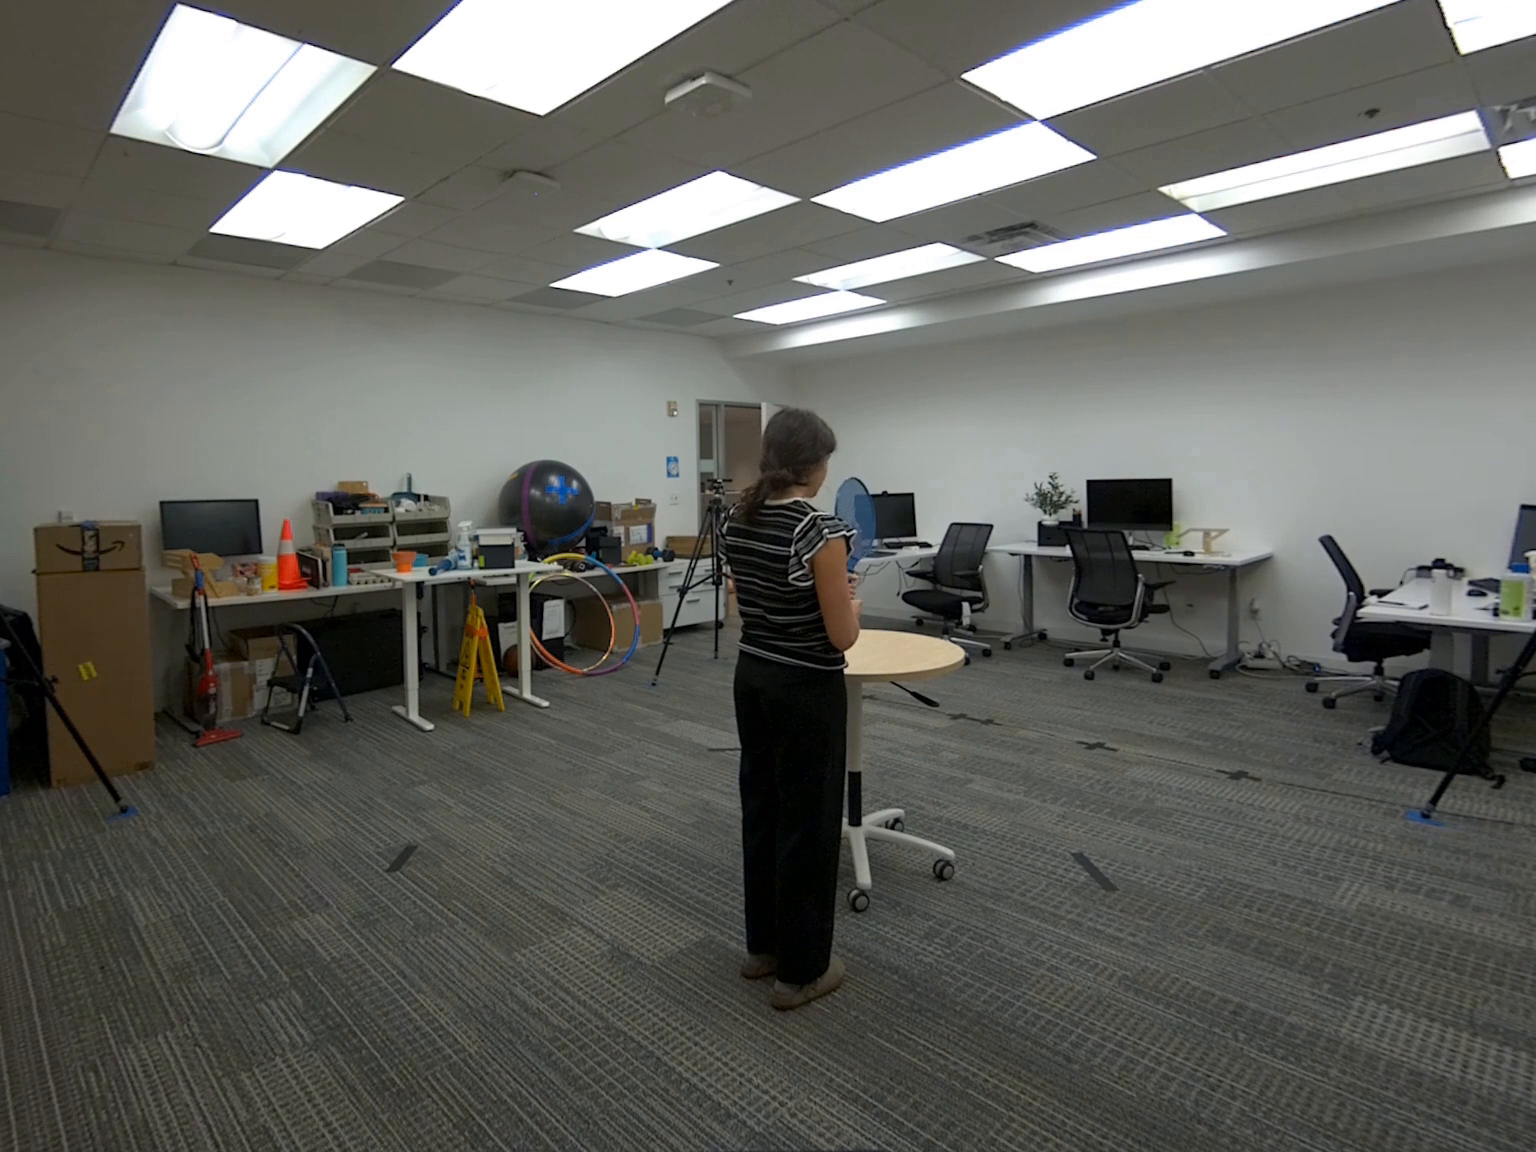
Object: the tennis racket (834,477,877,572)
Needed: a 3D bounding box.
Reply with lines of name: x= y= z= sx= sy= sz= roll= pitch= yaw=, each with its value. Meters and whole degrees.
tennis racket: x=0.248 y=-0.111 z=2.551 sx=0.032 sy=0.440 sz=0.205 roll=-12 pitch=-39 yaw=36
